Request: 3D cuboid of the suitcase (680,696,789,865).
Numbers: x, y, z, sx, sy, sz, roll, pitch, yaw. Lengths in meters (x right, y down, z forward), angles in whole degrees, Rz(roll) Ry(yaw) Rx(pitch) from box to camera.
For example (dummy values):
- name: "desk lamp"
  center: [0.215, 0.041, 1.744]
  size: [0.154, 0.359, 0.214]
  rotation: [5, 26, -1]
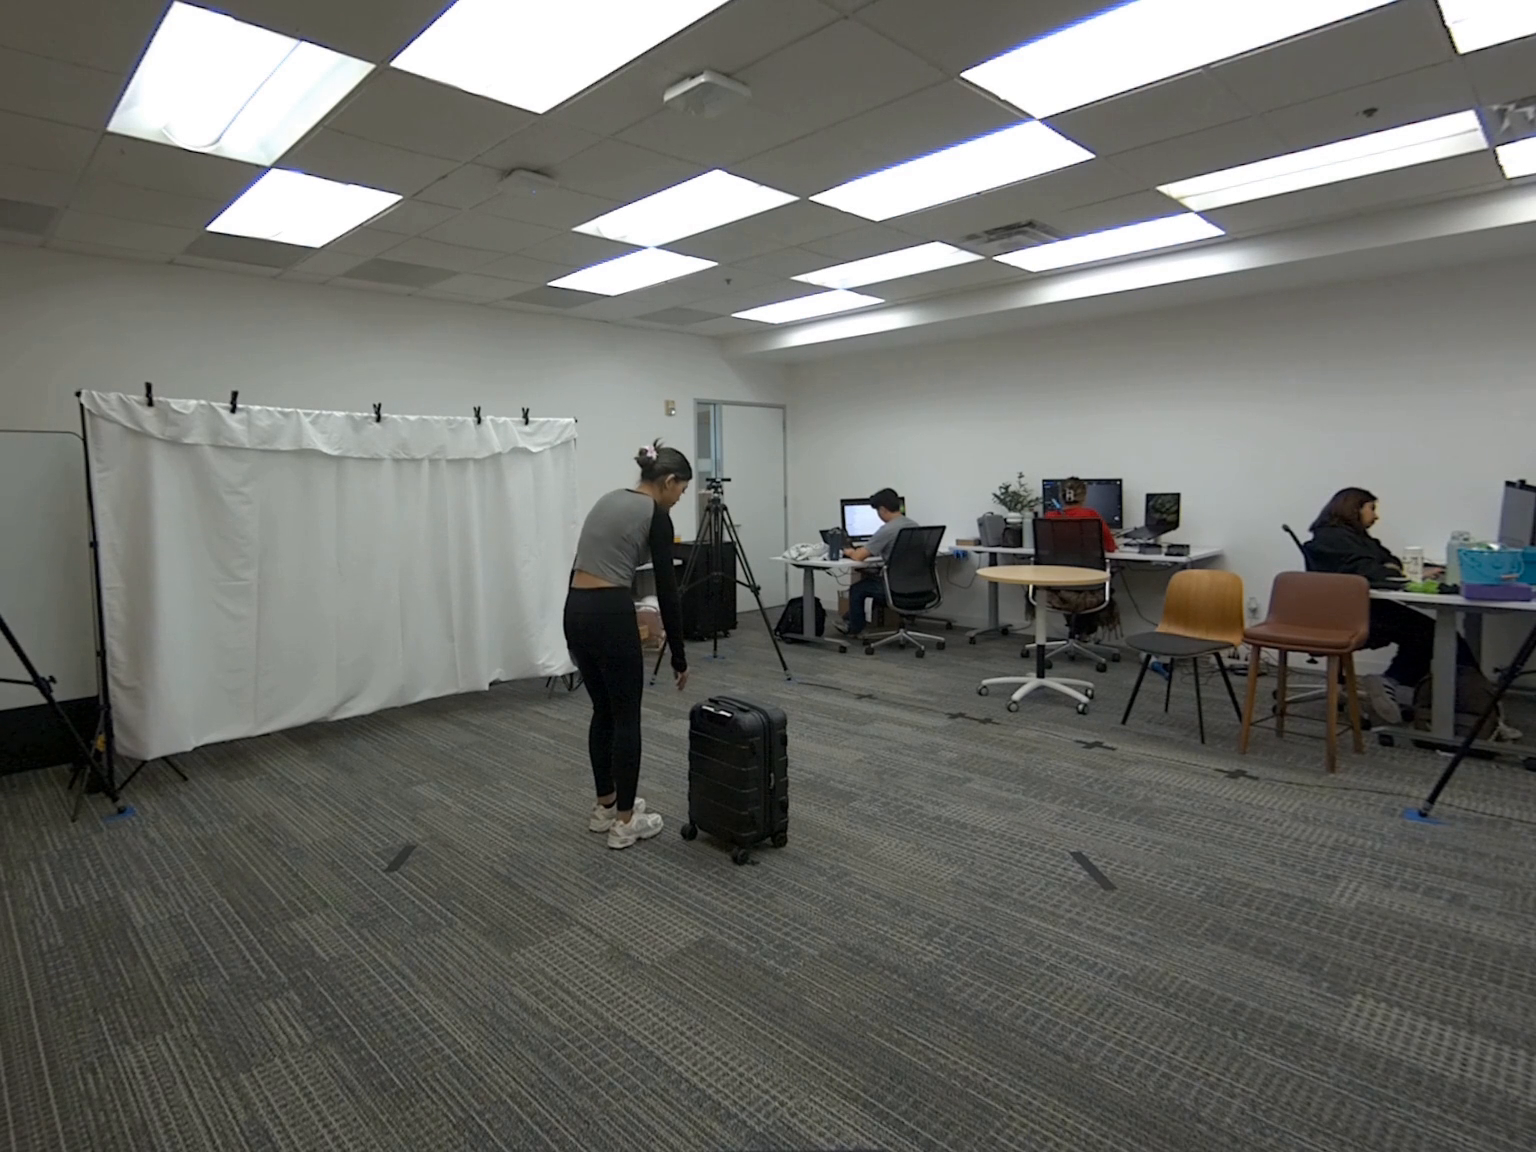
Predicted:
- name: "suitcase"
  center: [-0.117, 0.749, 3.278]
  size: [0.241, 0.548, 0.387]
  rotation: [-1, 3, -43]
